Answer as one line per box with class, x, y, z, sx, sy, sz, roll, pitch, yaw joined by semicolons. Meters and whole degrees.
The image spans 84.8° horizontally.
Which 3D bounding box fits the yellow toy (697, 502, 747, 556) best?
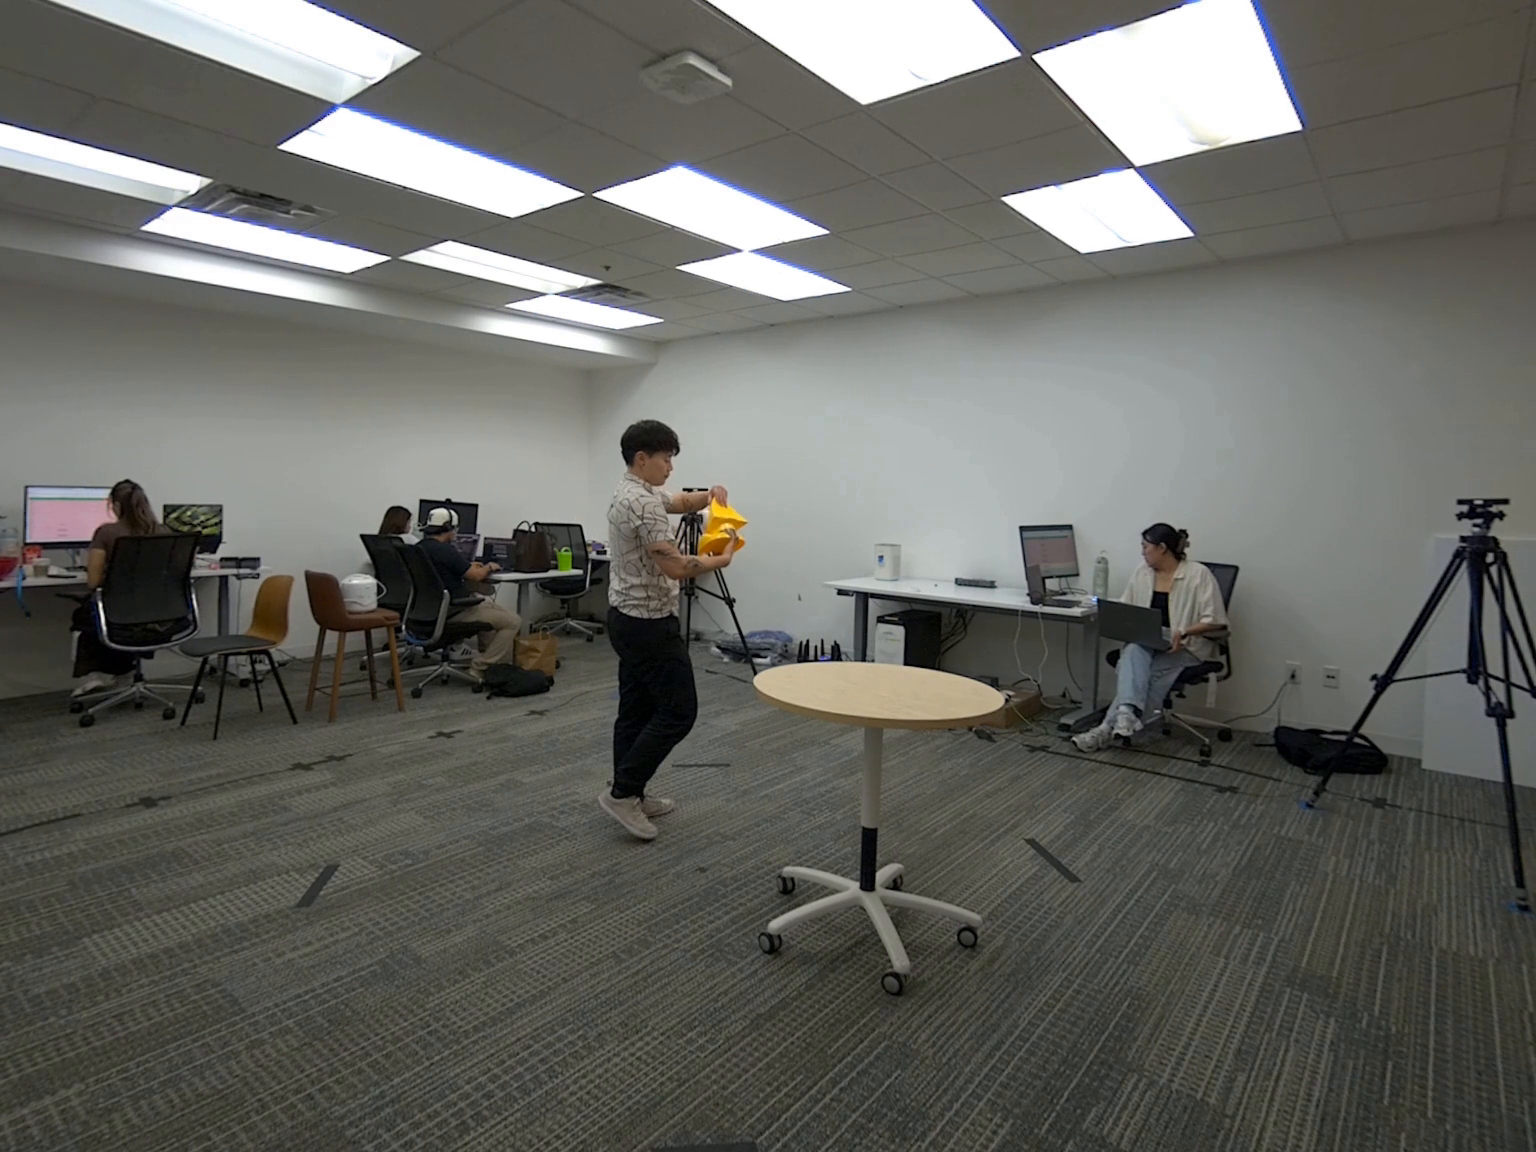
yellow toy;-0.238;-0.226;3.607;0.197;0.237;0.194;8;-36;-46
